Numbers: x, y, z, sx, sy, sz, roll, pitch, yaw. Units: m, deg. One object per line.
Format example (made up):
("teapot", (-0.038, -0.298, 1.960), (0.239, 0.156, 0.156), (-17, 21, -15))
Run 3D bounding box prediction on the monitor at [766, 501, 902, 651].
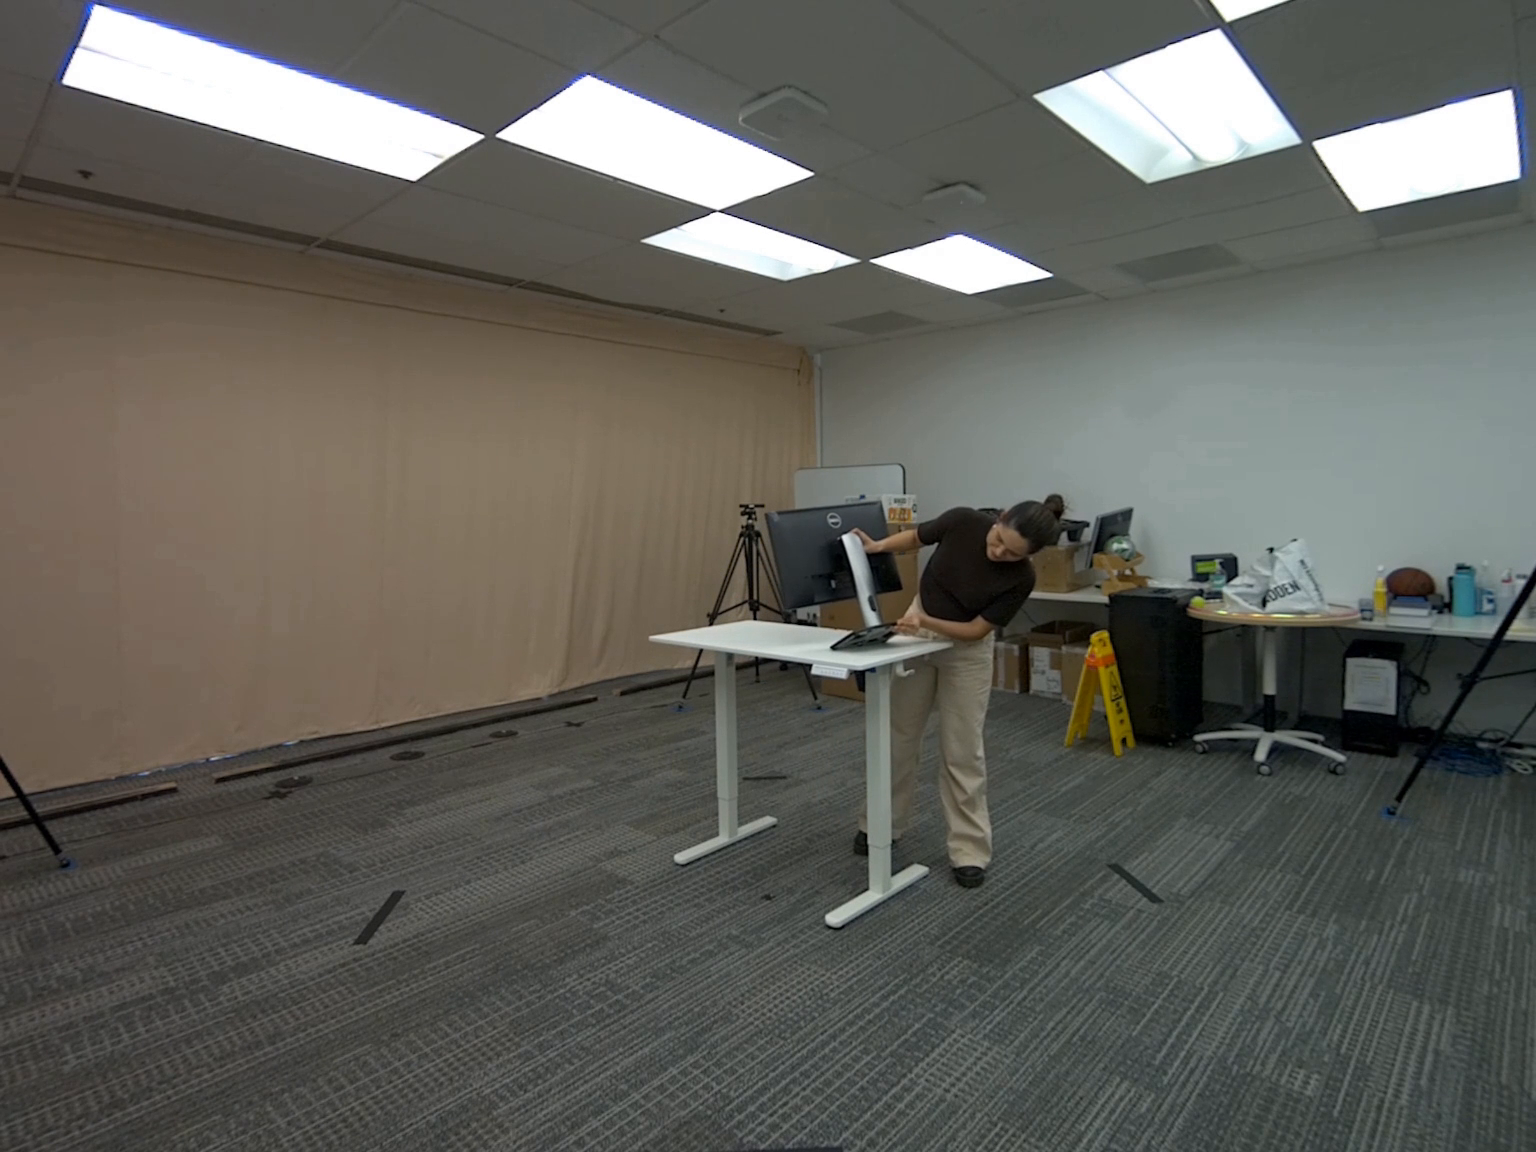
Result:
("monitor", (0.302, -0.014, 3.019), (0.525, 0.531, 0.189), (-7, -21, -33))
